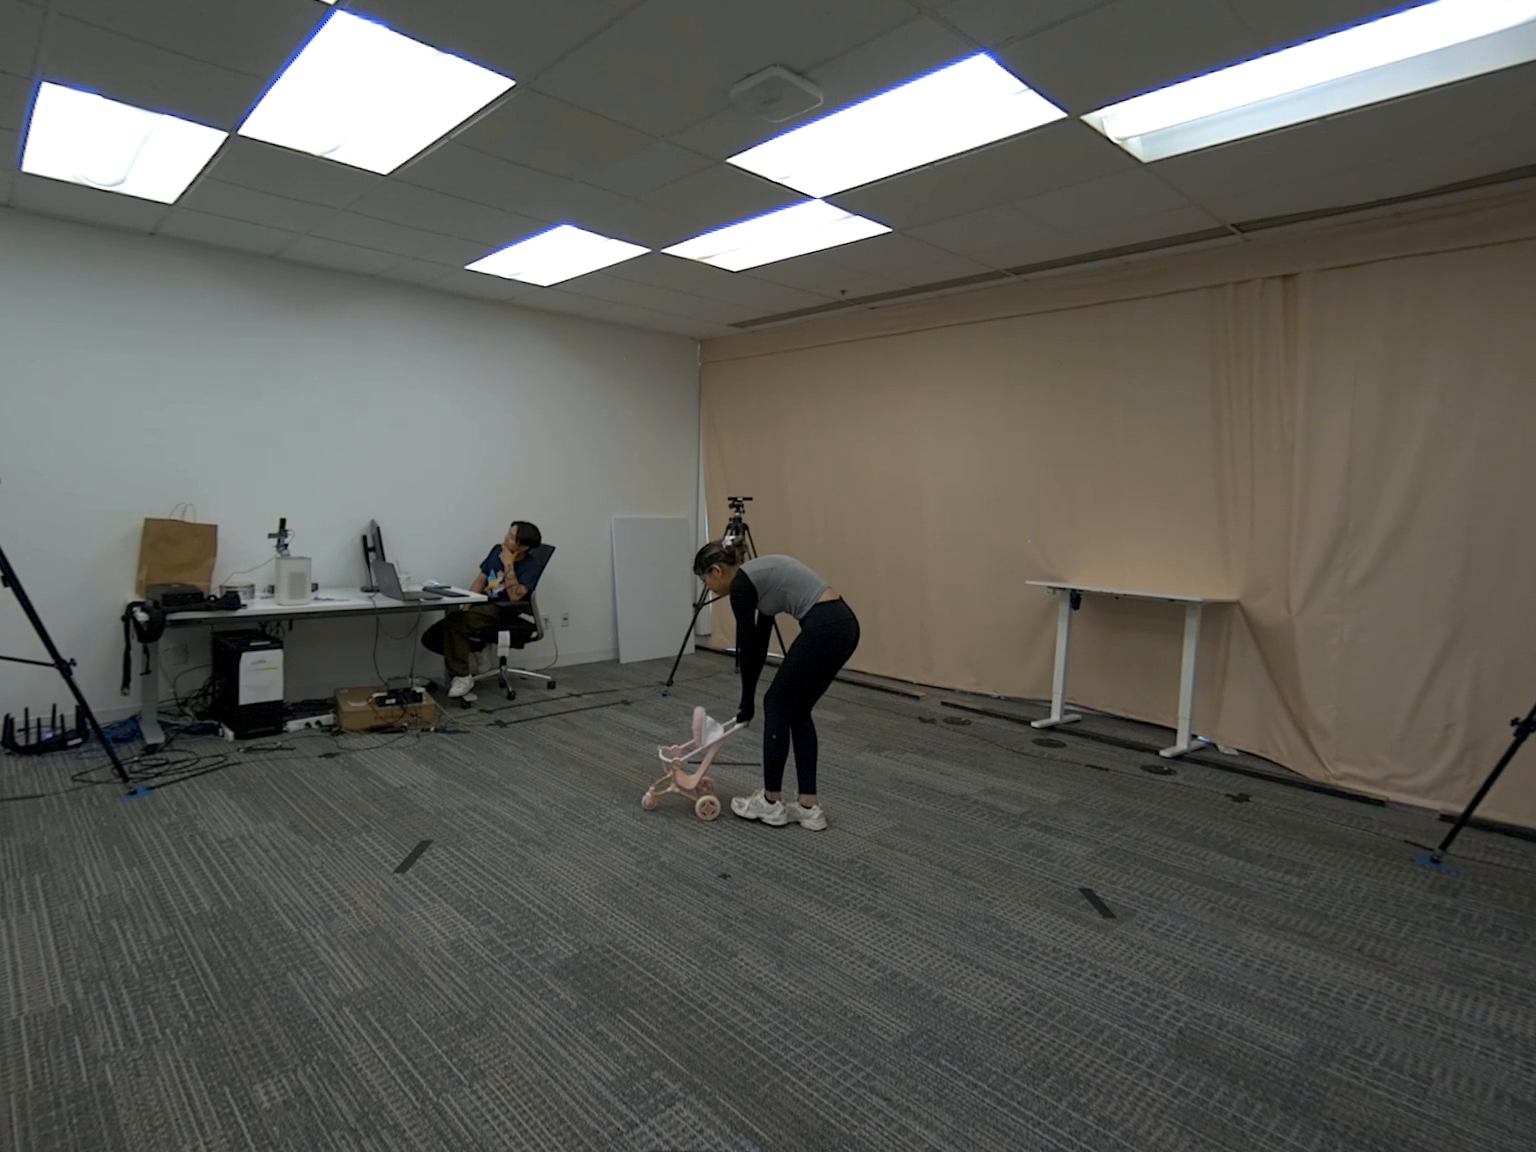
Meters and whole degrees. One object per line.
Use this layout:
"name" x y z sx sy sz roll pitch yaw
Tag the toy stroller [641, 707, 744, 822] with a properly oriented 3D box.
"toy stroller" -0.340 0.818 3.756 0.341 0.534 0.282 18 2 -2
